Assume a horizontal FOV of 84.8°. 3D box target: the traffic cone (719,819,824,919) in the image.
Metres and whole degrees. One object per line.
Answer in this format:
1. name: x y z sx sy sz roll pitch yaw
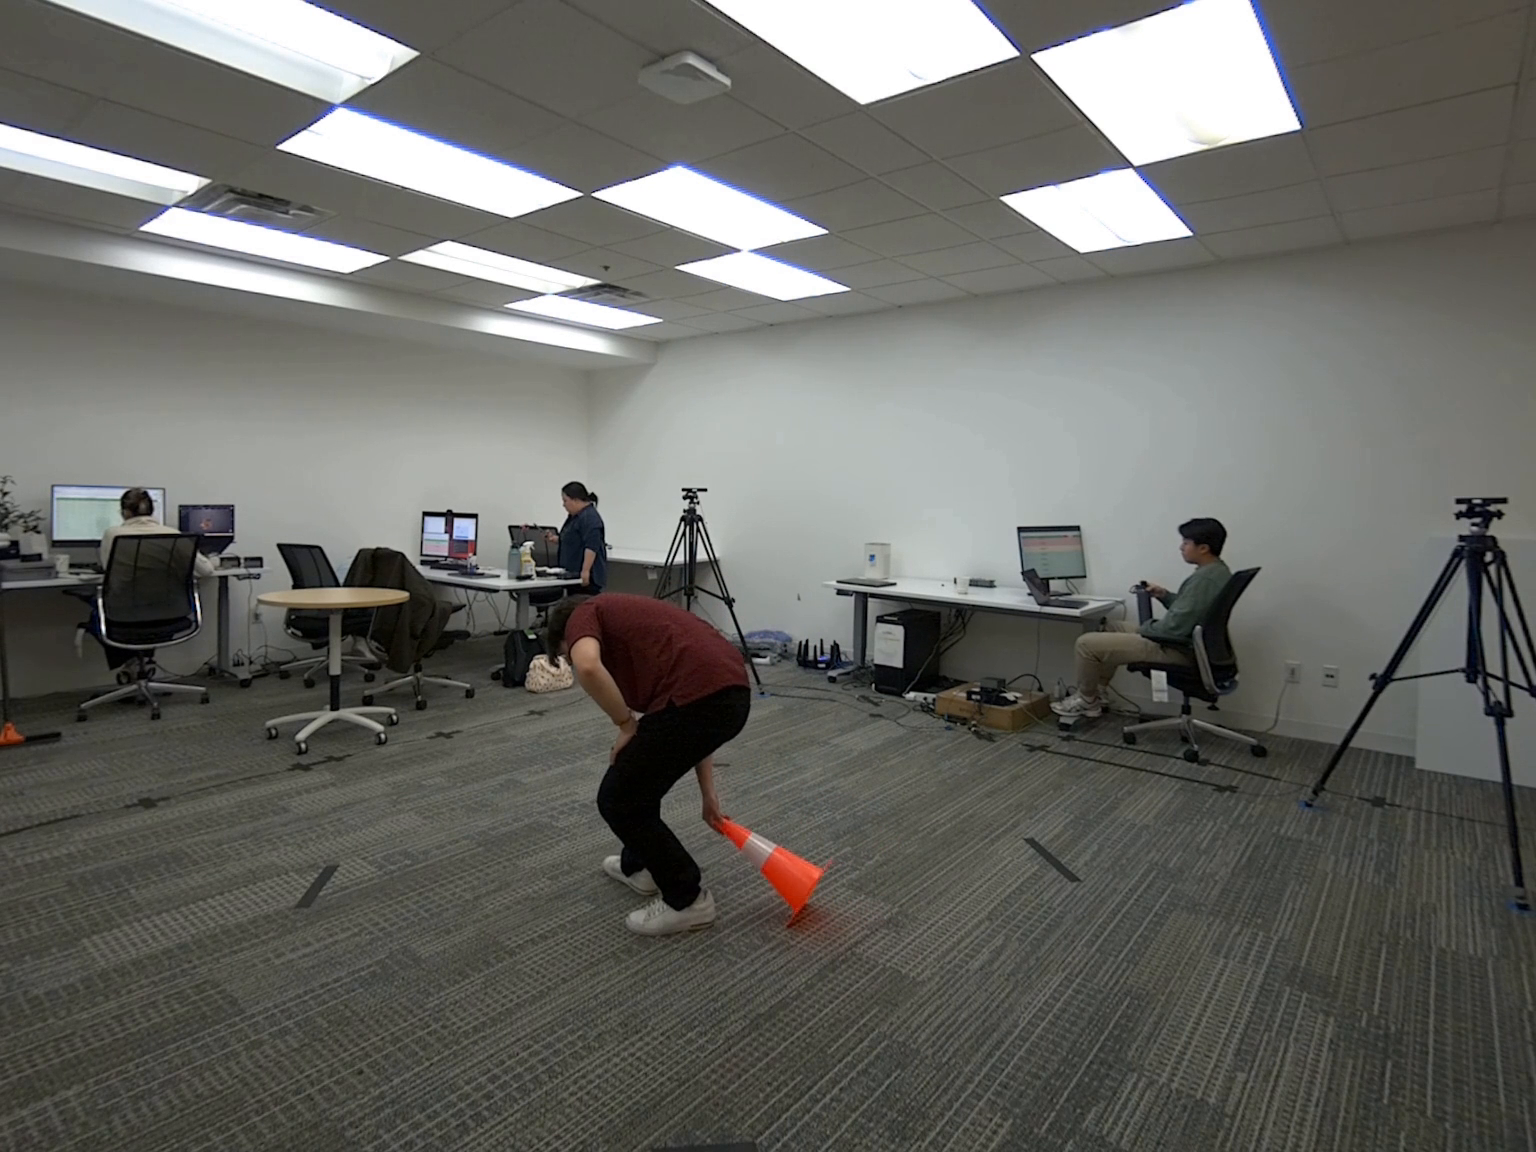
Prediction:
1. traffic cone: -0.024 0.925 2.825 0.391 0.202 0.202 33 17 12
